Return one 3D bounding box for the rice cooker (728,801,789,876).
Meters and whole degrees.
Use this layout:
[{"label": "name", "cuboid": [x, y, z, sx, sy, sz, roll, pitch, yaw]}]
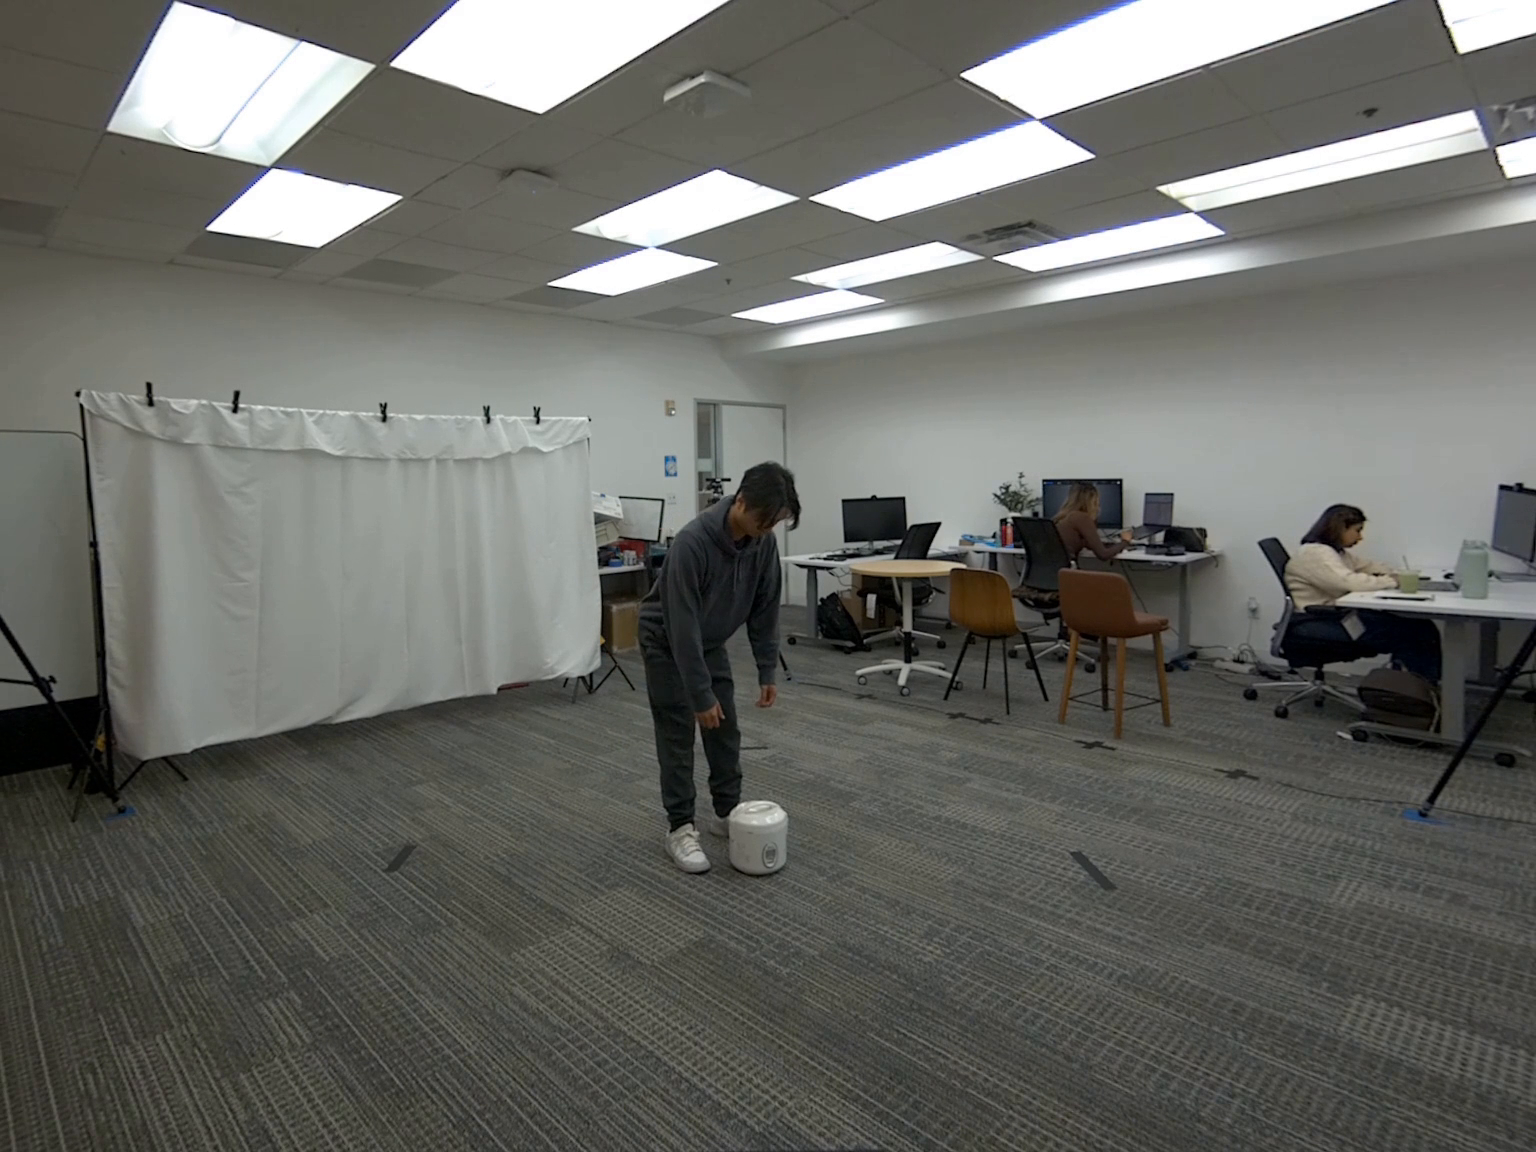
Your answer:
[{"label": "rice cooker", "cuboid": [-0.029, 0.928, 3.081, 0.216, 0.232, 0.222, -3, 4, -22]}]
